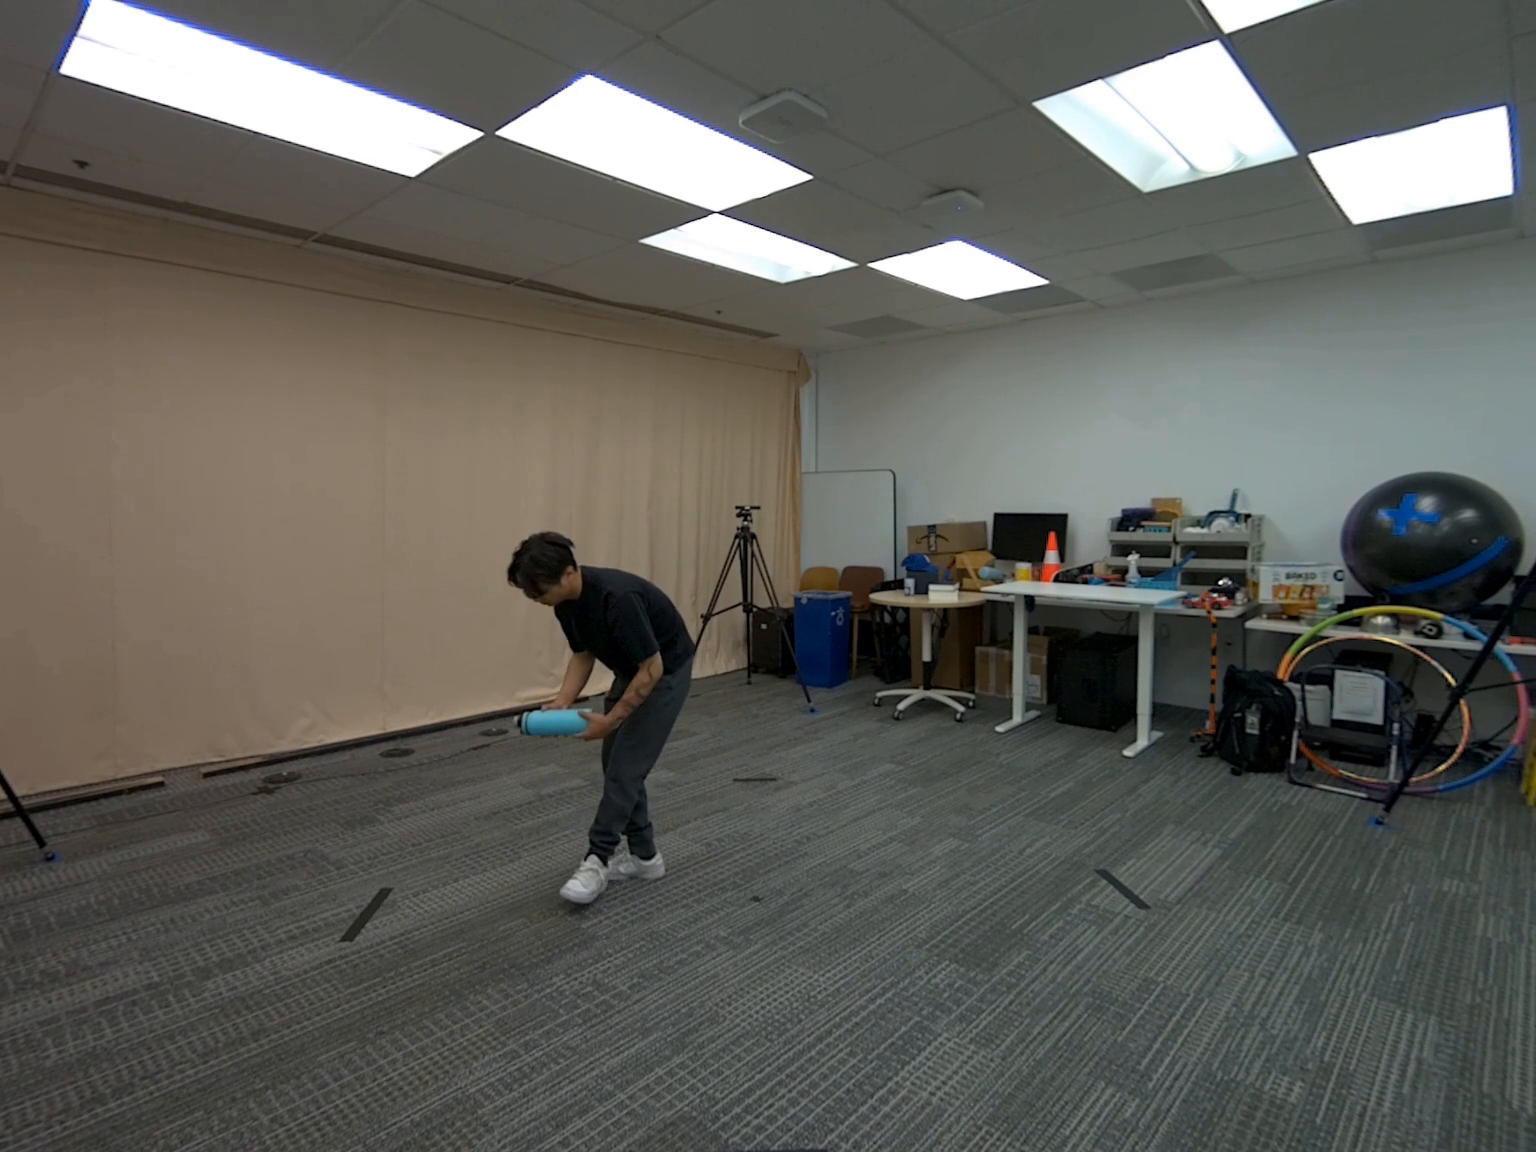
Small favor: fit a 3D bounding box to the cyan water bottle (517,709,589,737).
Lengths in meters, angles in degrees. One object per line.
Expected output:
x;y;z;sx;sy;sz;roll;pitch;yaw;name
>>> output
-0.756;0.524;2.970;0.285;0.092;0.092;-1;4;6;cyan water bottle
